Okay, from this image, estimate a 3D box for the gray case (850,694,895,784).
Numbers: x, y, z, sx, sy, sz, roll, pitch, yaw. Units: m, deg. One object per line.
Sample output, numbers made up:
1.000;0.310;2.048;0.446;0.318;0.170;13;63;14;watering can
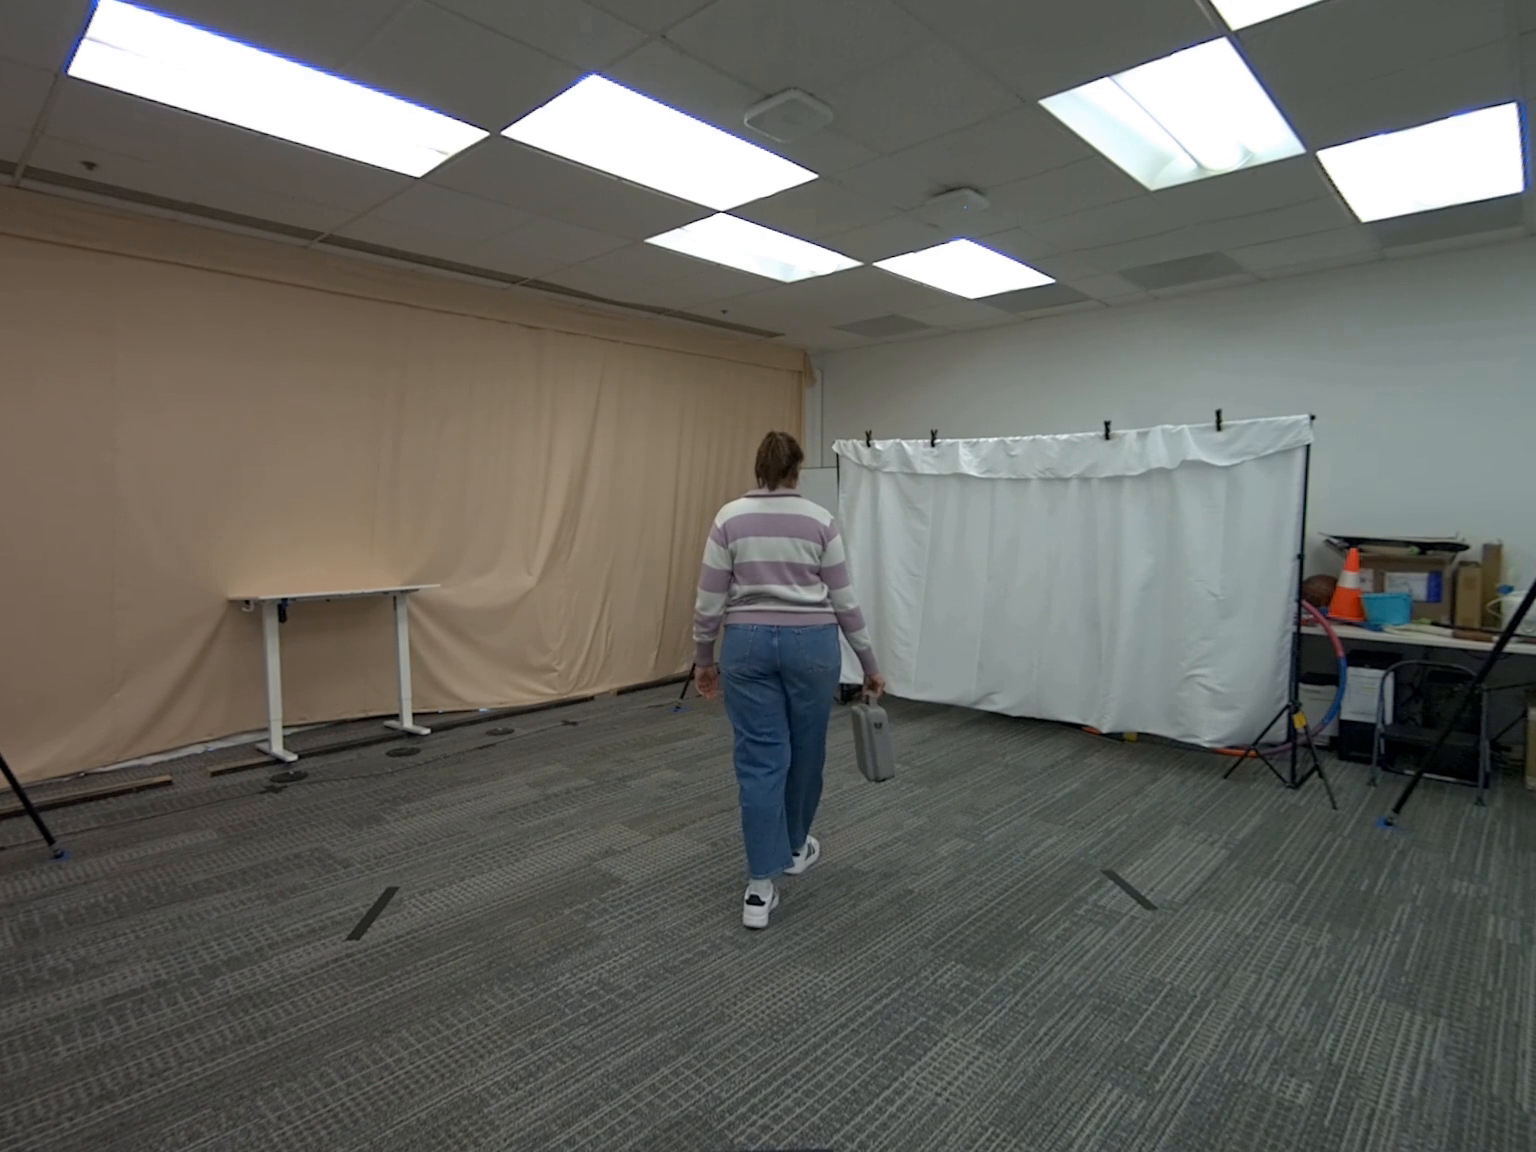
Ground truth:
0.384;0.591;3.053;0.104;0.261;0.256;-5;-2;-2;gray case
